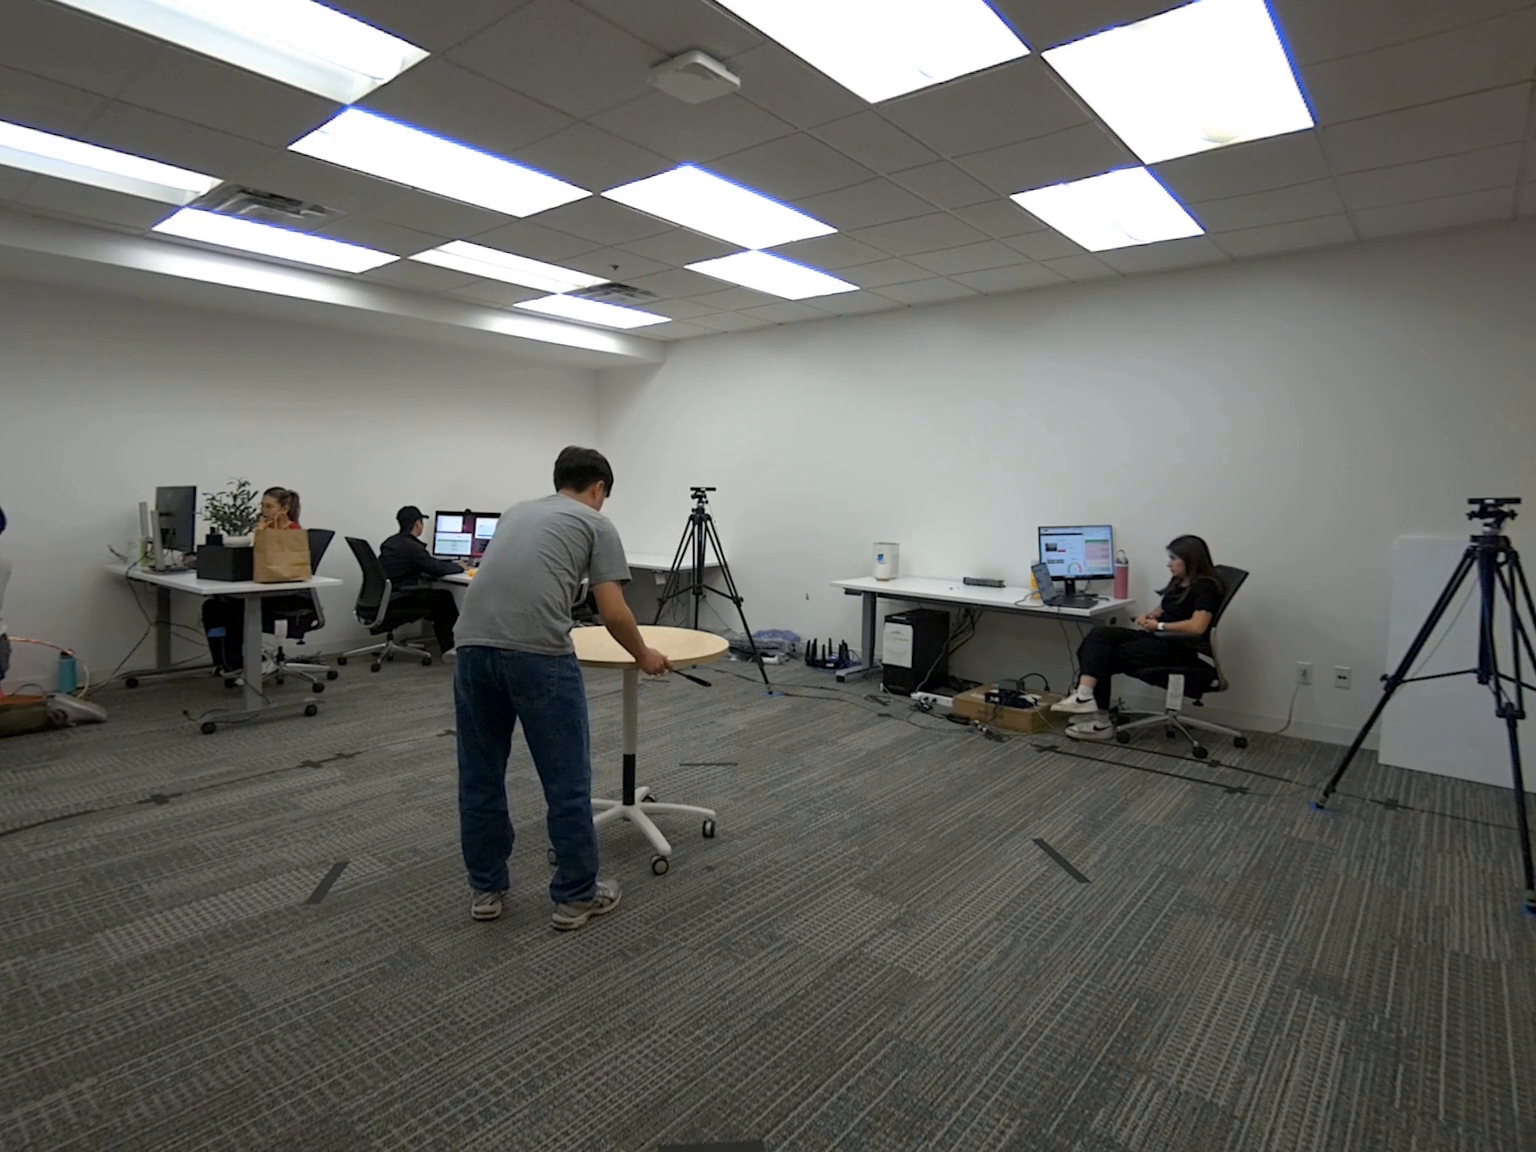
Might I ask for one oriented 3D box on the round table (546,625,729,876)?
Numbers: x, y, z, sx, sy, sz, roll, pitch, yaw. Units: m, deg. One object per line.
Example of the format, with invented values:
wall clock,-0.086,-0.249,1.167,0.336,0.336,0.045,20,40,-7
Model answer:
round table,-0.556,0.646,3.333,0.763,0.791,0.768,1,4,-2
